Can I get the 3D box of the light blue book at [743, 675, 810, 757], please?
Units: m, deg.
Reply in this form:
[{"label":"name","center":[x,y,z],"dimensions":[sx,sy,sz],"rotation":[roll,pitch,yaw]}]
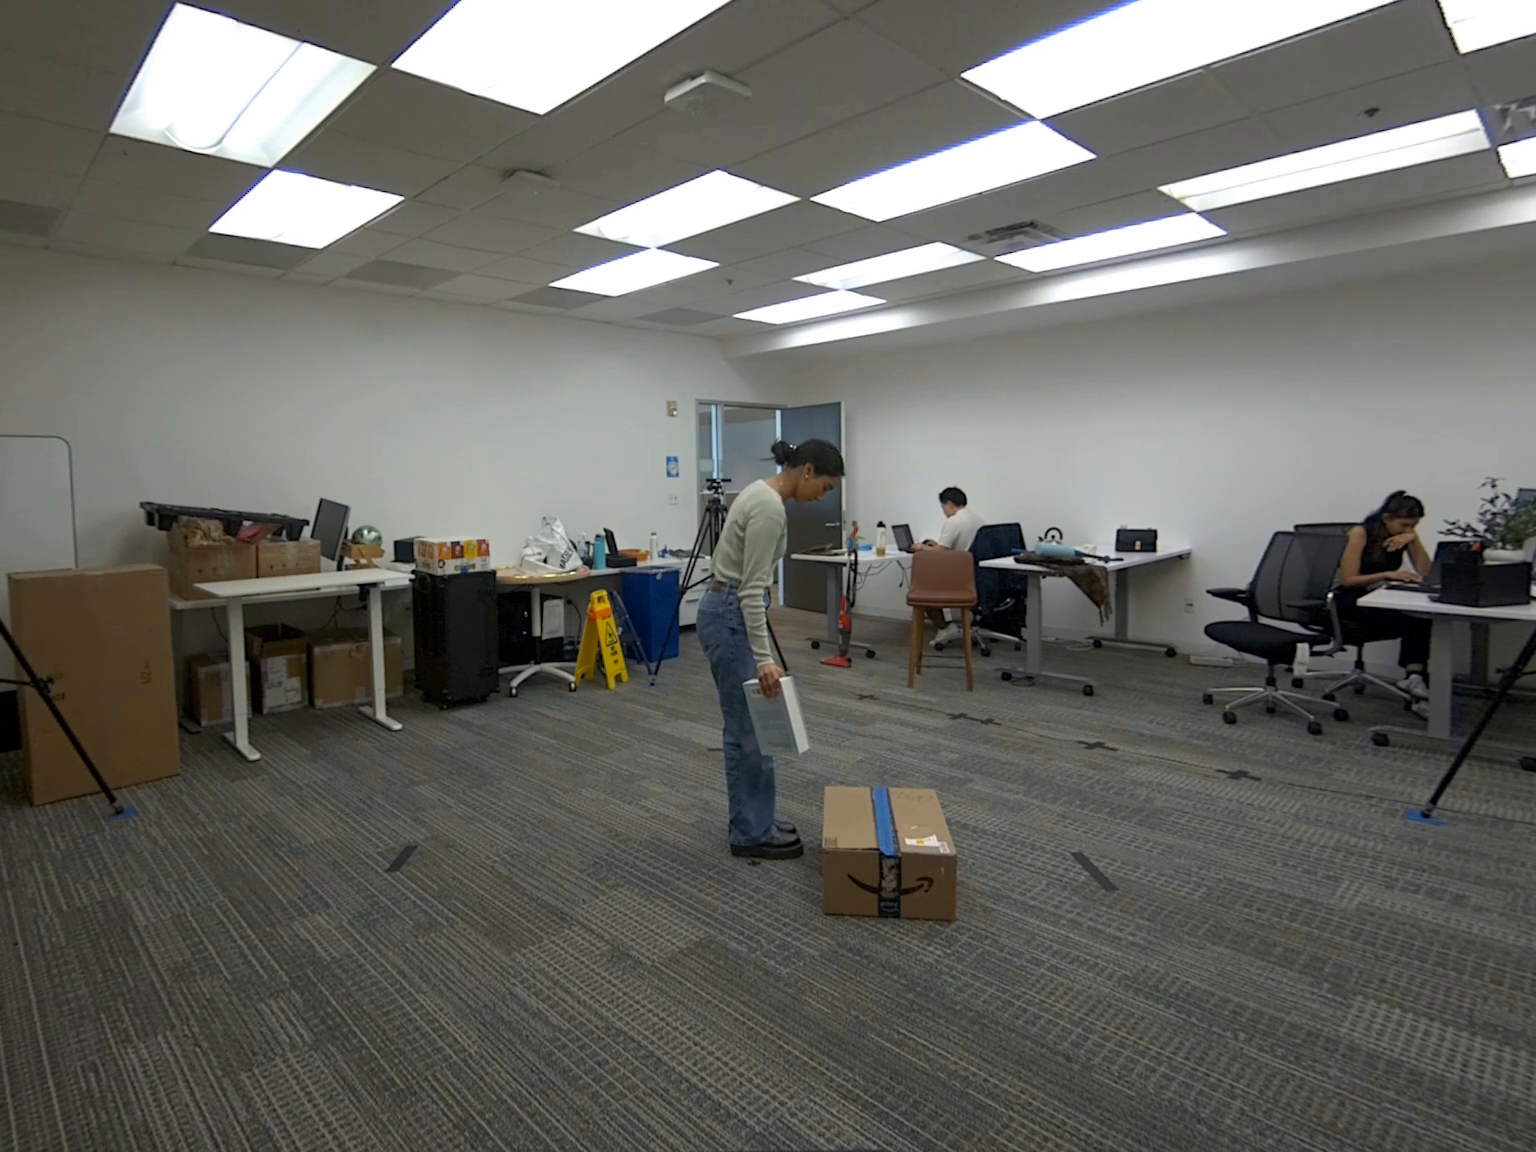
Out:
[{"label":"light blue book","center":[0.027,0.488,2.967],"dimensions":[0.195,0.261,0.058],"rotation":[-13,1,44]}]
